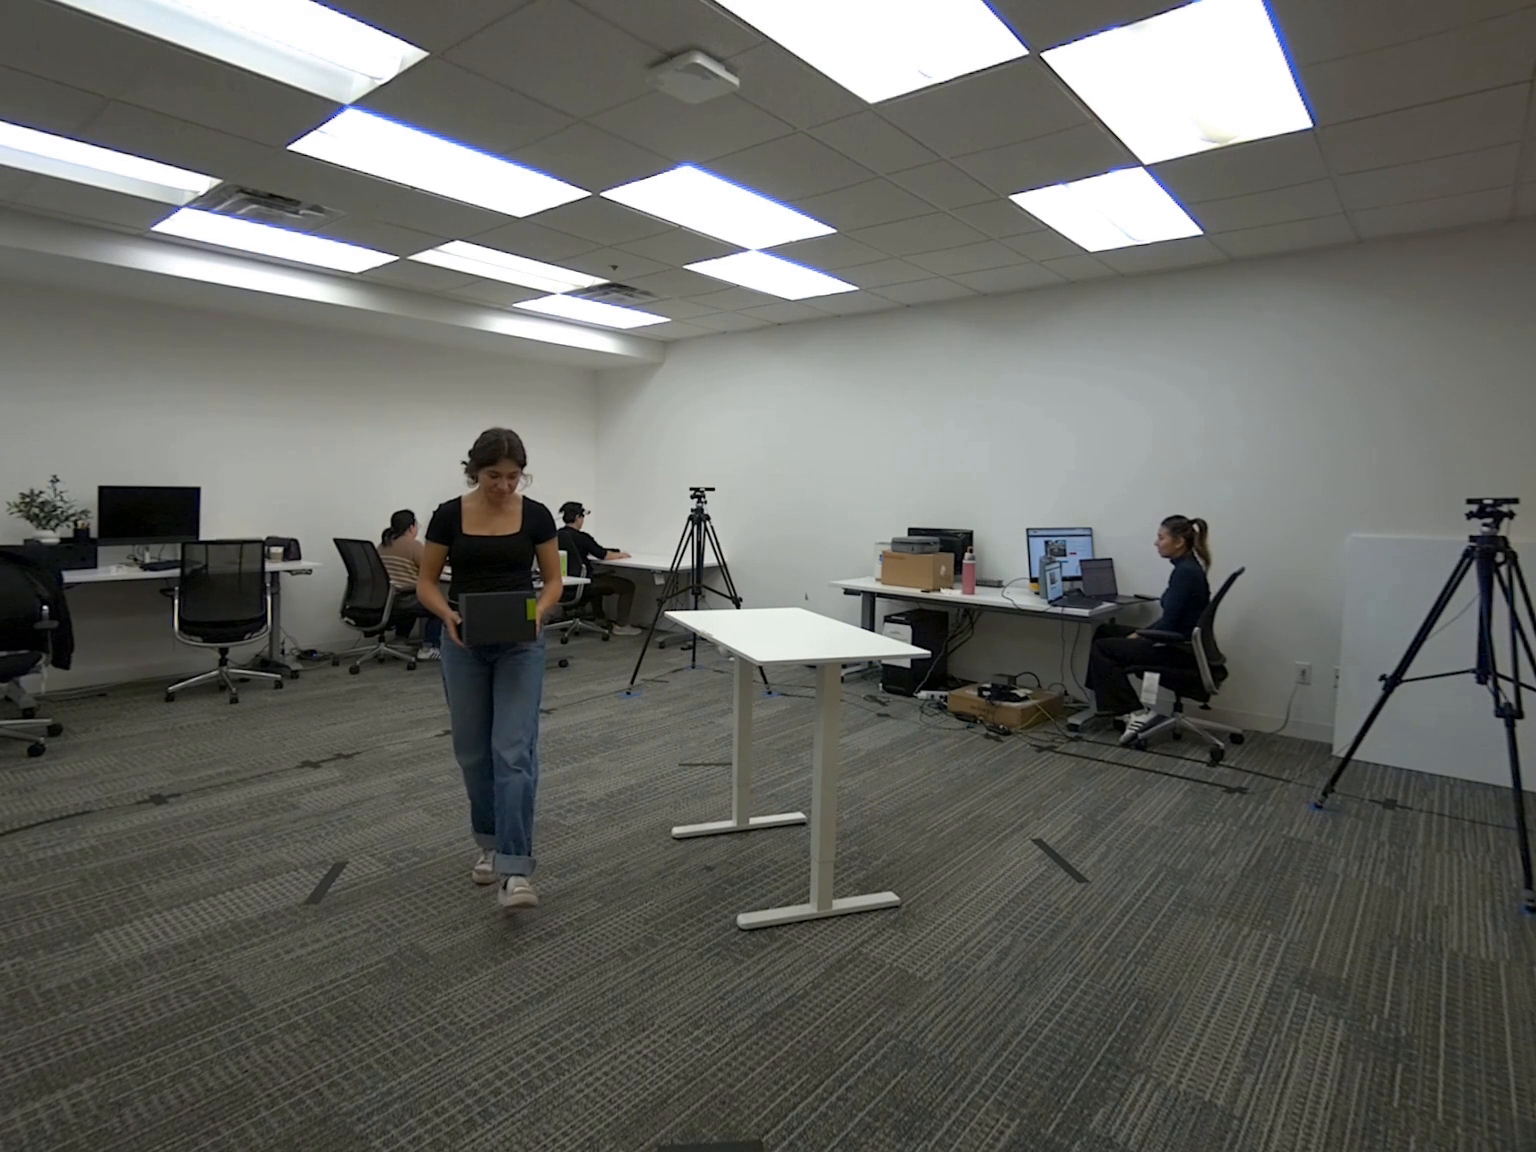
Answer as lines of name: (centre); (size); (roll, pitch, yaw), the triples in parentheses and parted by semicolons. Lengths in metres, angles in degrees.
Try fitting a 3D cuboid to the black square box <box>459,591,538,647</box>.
black square box: (-0.882, 0.125, 2.746); (0.213, 0.156, 0.232); (-2, 1, -20)
